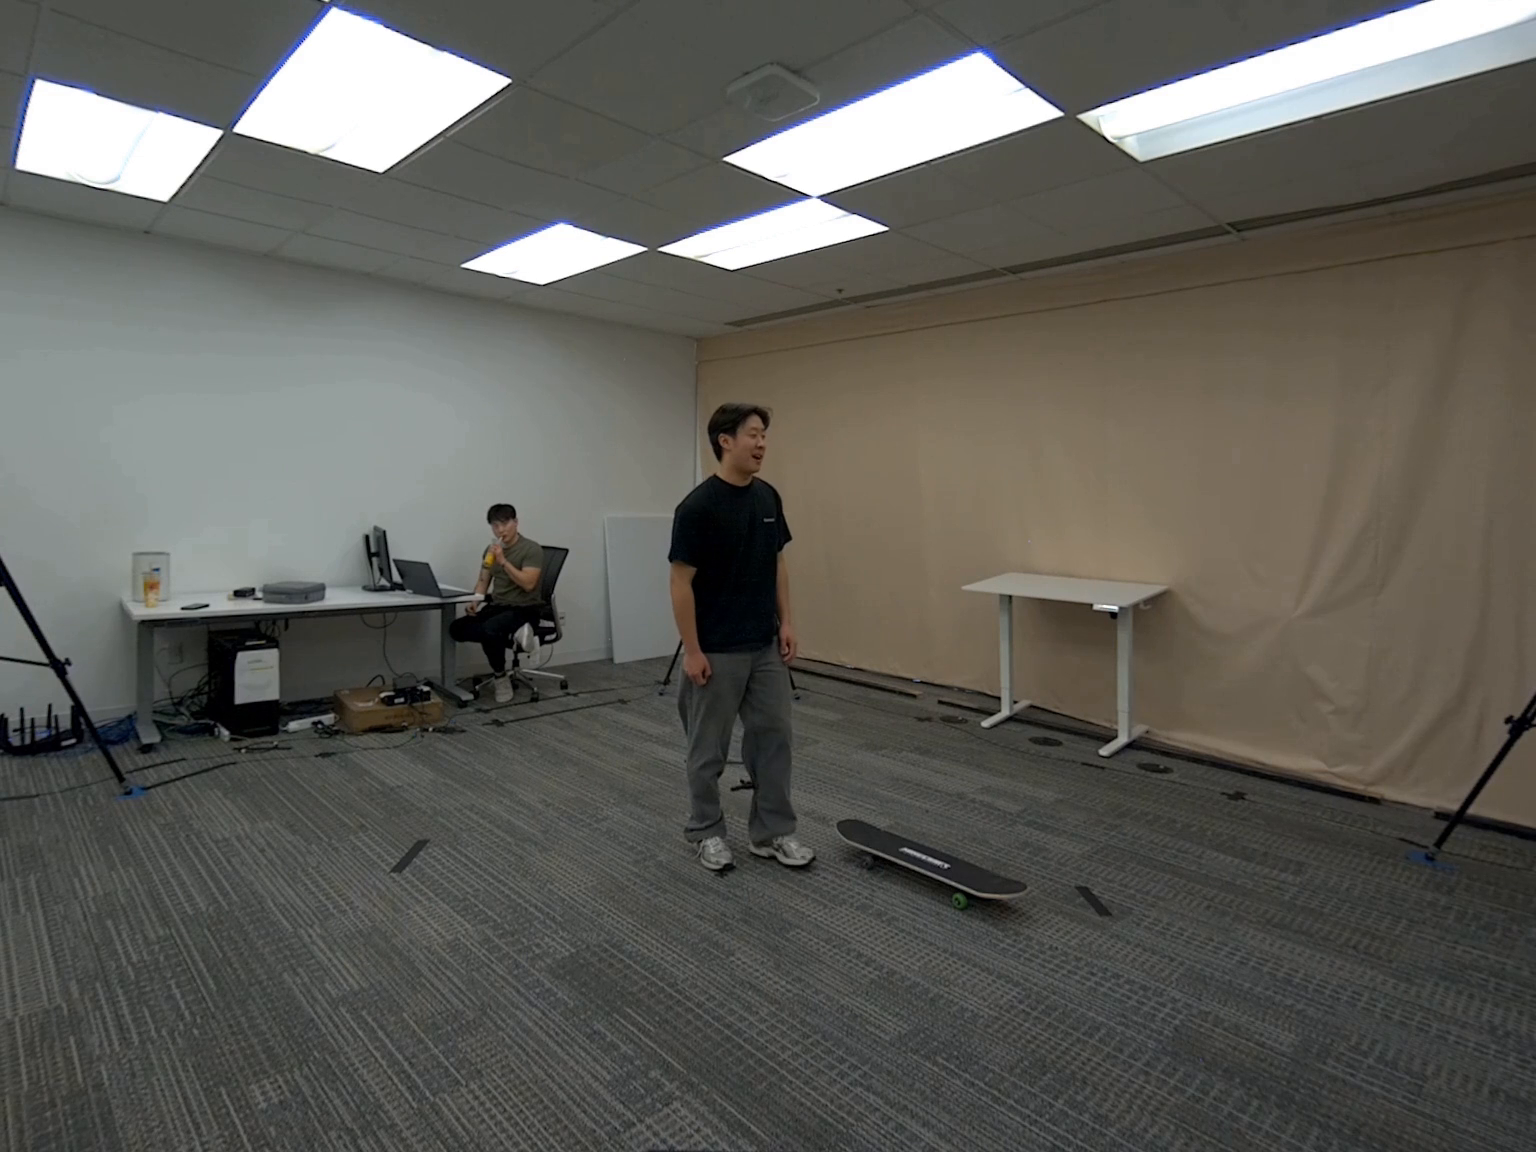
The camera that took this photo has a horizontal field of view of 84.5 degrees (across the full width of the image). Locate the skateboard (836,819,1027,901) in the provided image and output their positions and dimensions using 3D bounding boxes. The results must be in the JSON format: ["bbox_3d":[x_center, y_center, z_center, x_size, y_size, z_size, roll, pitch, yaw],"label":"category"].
[{"bbox_3d":[0.565,1.068,3.094,0.189,0.110,0.806,-3,7,-43],"label":"skateboard"}]
